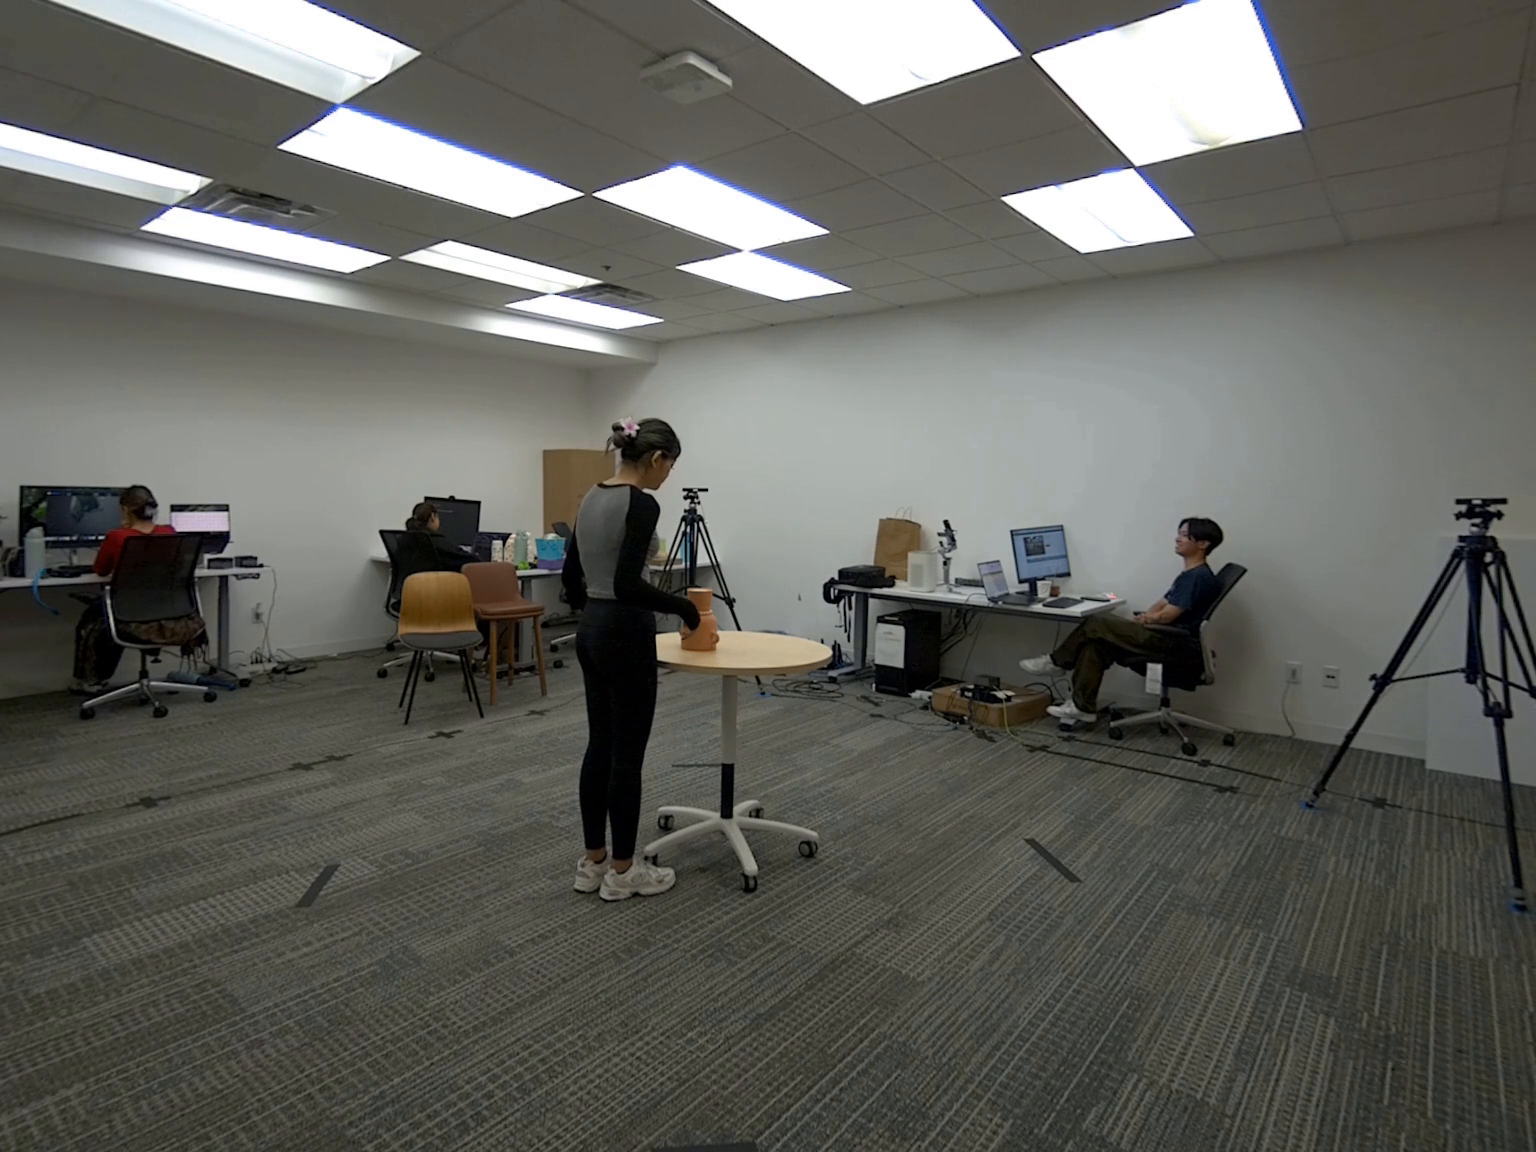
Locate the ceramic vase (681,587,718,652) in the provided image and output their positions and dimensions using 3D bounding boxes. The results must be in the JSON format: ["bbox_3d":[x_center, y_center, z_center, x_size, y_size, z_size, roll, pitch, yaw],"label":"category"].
[{"bbox_3d":[-0.266,0.159,3.175,0.159,0.219,0.135,1,4,-1],"label":"ceramic vase"}]
